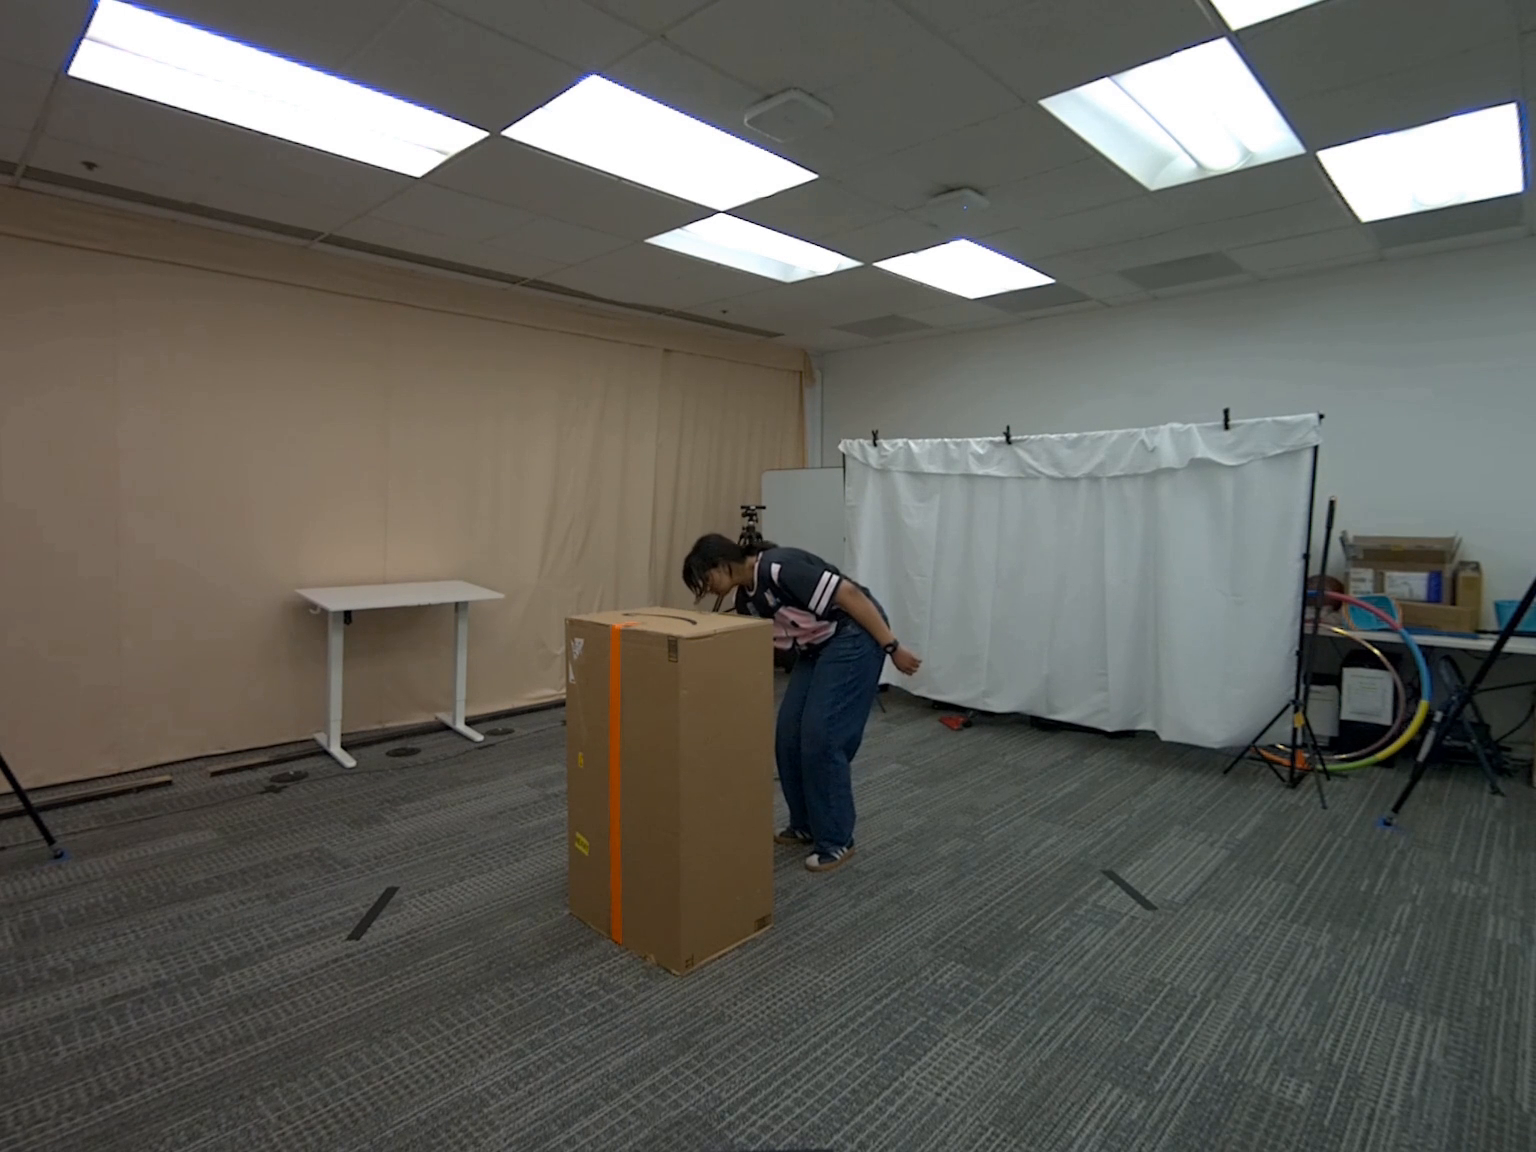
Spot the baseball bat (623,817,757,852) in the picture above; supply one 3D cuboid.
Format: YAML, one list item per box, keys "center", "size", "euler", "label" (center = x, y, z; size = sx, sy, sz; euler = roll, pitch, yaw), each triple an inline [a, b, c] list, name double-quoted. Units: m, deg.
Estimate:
- center: [-0.324, 1.068, 3.508]
  size: [0.538, 0.089, 0.090]
  euler: [1, 4, -9]
  label: "baseball bat"
